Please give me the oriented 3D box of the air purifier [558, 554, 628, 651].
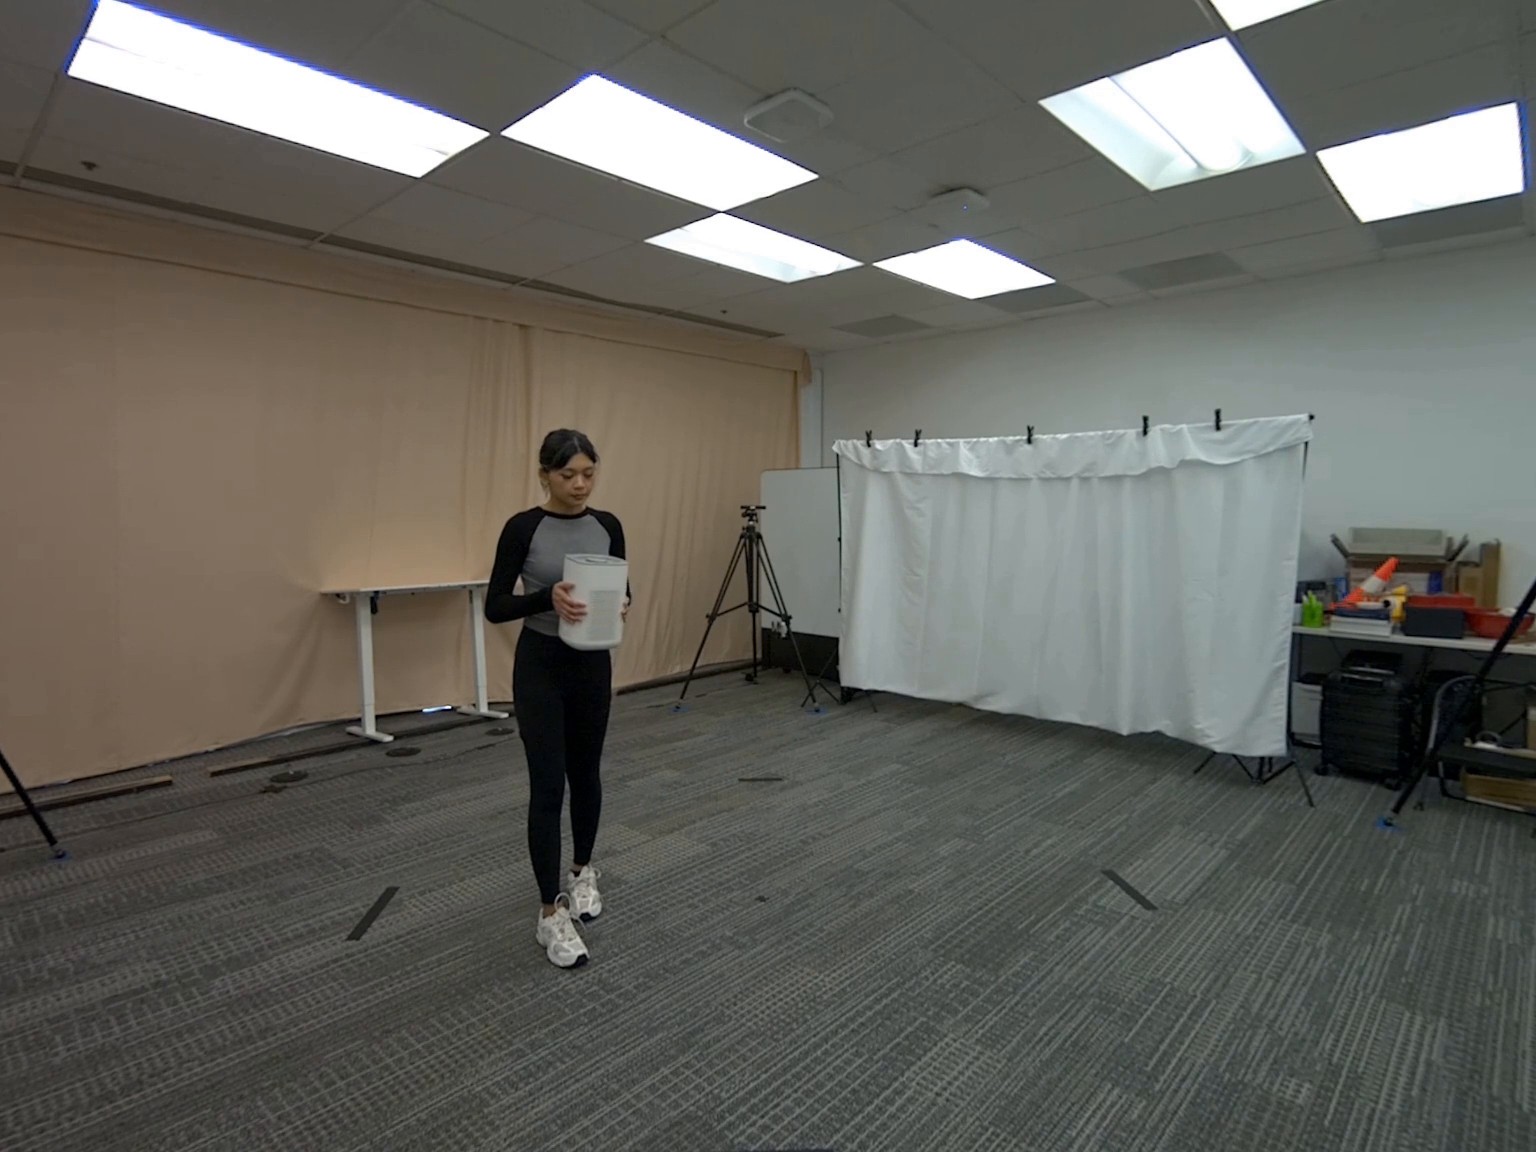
[{"bbox_3d":[-0.531,0.080,2.533,0.167,0.264,0.176,3,7,-32],"label":"air purifier"}]
